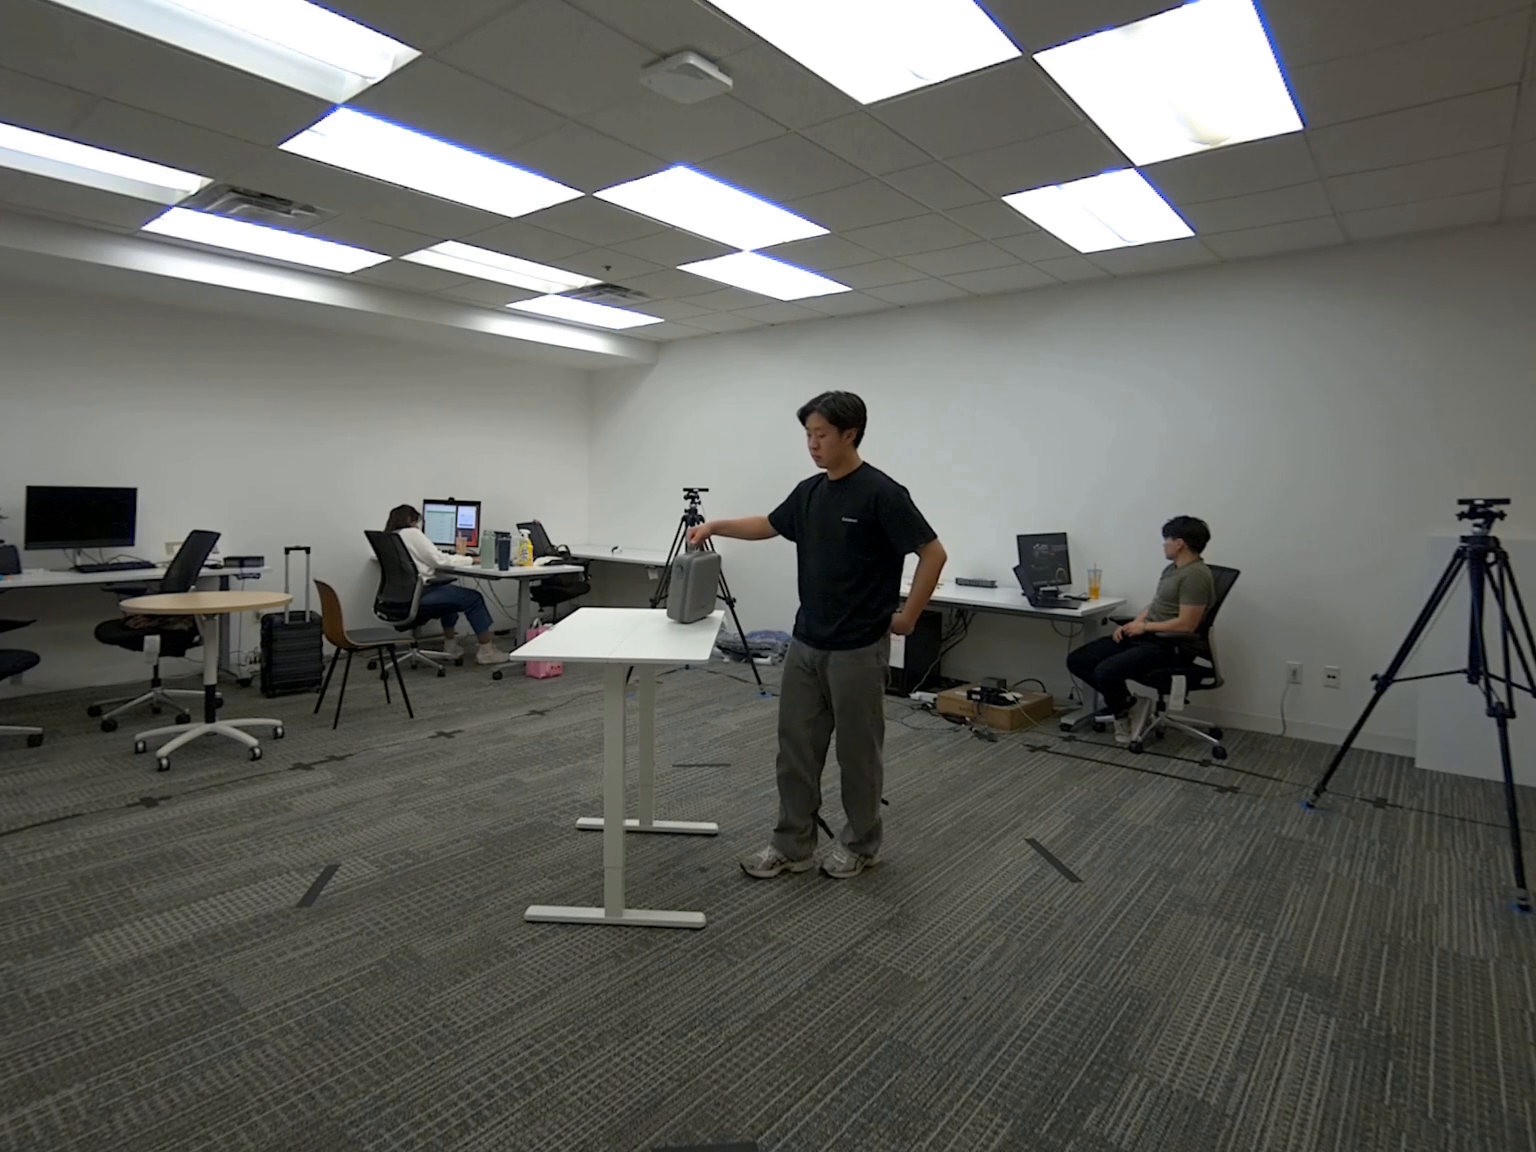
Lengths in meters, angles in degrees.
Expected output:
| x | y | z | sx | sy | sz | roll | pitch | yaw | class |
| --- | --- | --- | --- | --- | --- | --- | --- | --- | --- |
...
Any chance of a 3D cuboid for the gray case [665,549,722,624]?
| x | y | z | sx | sy | sz | roll | pitch | yaw | class |
| --- | --- | --- | --- | --- | --- | --- | --- | --- | --- |
| -0.290 | 0.018 | 3.256 | 0.105 | 0.285 | 0.259 | 9 | 8 | 18 | gray case |
